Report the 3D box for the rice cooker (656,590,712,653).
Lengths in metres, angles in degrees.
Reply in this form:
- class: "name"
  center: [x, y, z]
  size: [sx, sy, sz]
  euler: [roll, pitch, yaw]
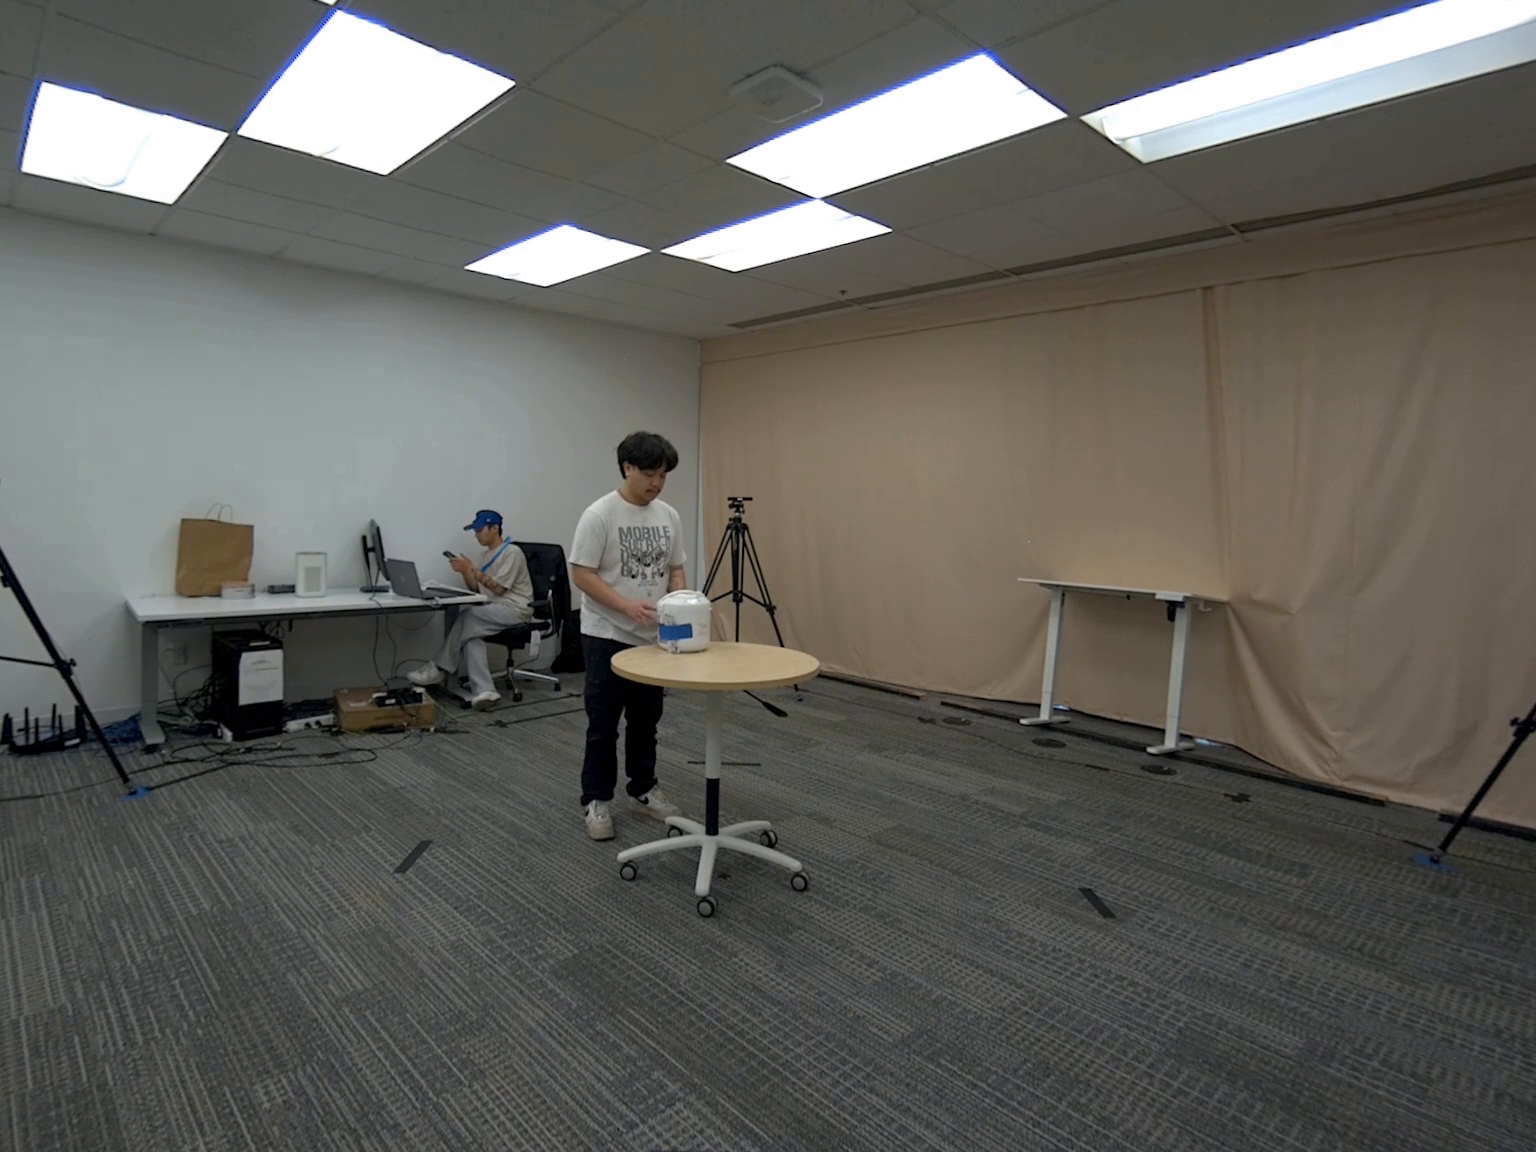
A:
- class: "rice cooker"
  center: [-0.338, 0.172, 3.303]
  size: [0.217, 0.232, 0.222]
  euler: [1, 4, -23]
